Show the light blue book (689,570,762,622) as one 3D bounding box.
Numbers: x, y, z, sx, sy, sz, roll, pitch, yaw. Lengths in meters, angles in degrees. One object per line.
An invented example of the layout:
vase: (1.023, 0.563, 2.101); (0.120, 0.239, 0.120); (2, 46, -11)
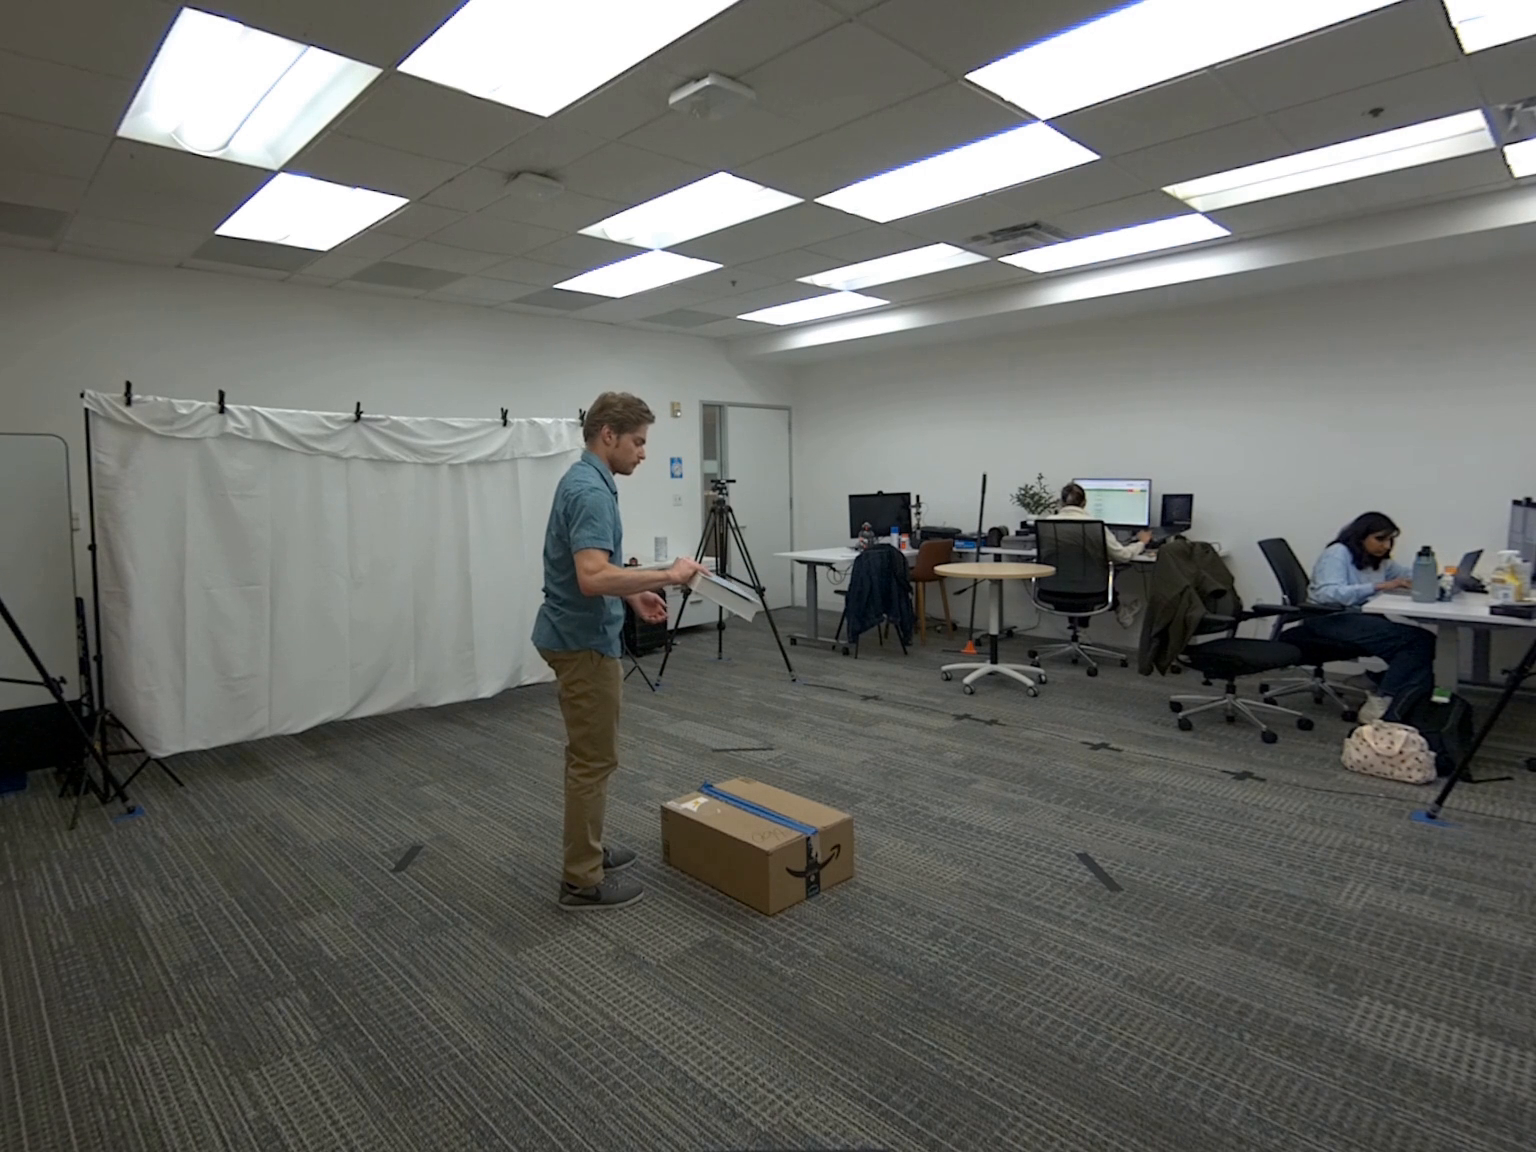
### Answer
light blue book: (-0.179, 0.041, 2.793); (0.252, 0.059, 0.198); (29, 3, -34)
